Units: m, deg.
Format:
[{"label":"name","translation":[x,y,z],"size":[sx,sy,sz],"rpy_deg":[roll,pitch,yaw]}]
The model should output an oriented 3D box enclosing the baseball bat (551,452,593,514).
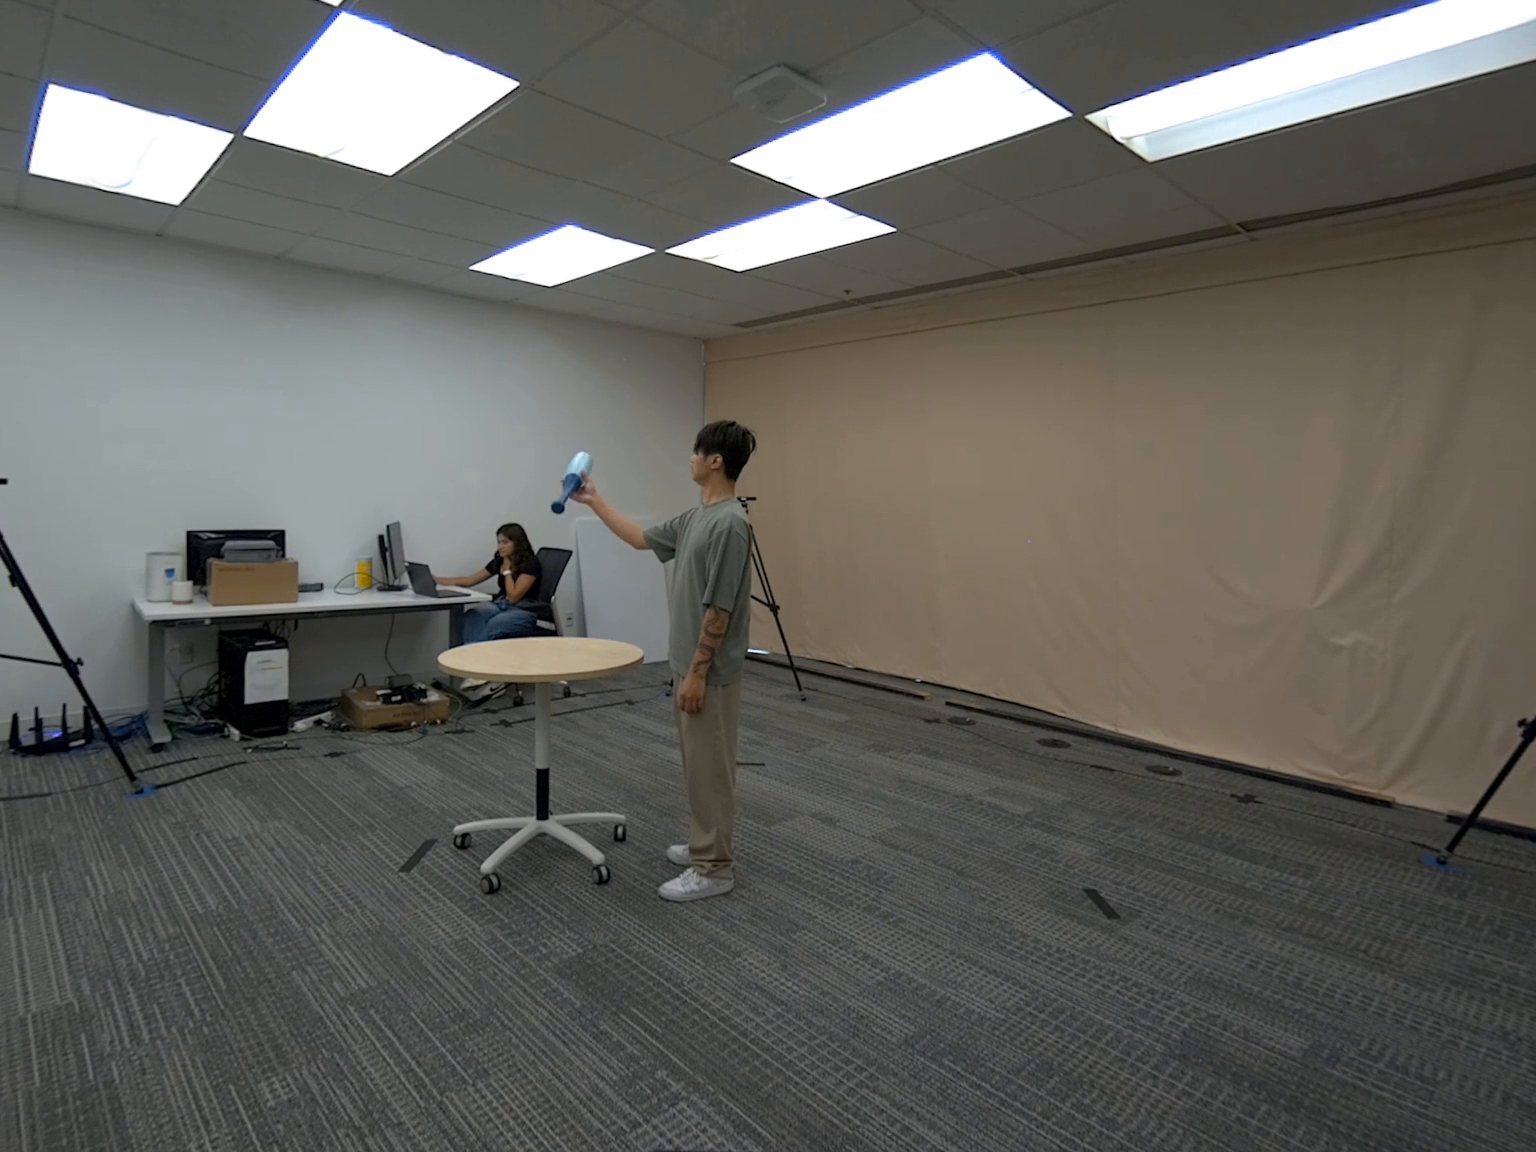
[{"label":"baseball bat","translation":[-0.769,-0.356,3.257],"size":[0.089,0.087,0.553],"rpy_deg":[1,26,-3]}]
